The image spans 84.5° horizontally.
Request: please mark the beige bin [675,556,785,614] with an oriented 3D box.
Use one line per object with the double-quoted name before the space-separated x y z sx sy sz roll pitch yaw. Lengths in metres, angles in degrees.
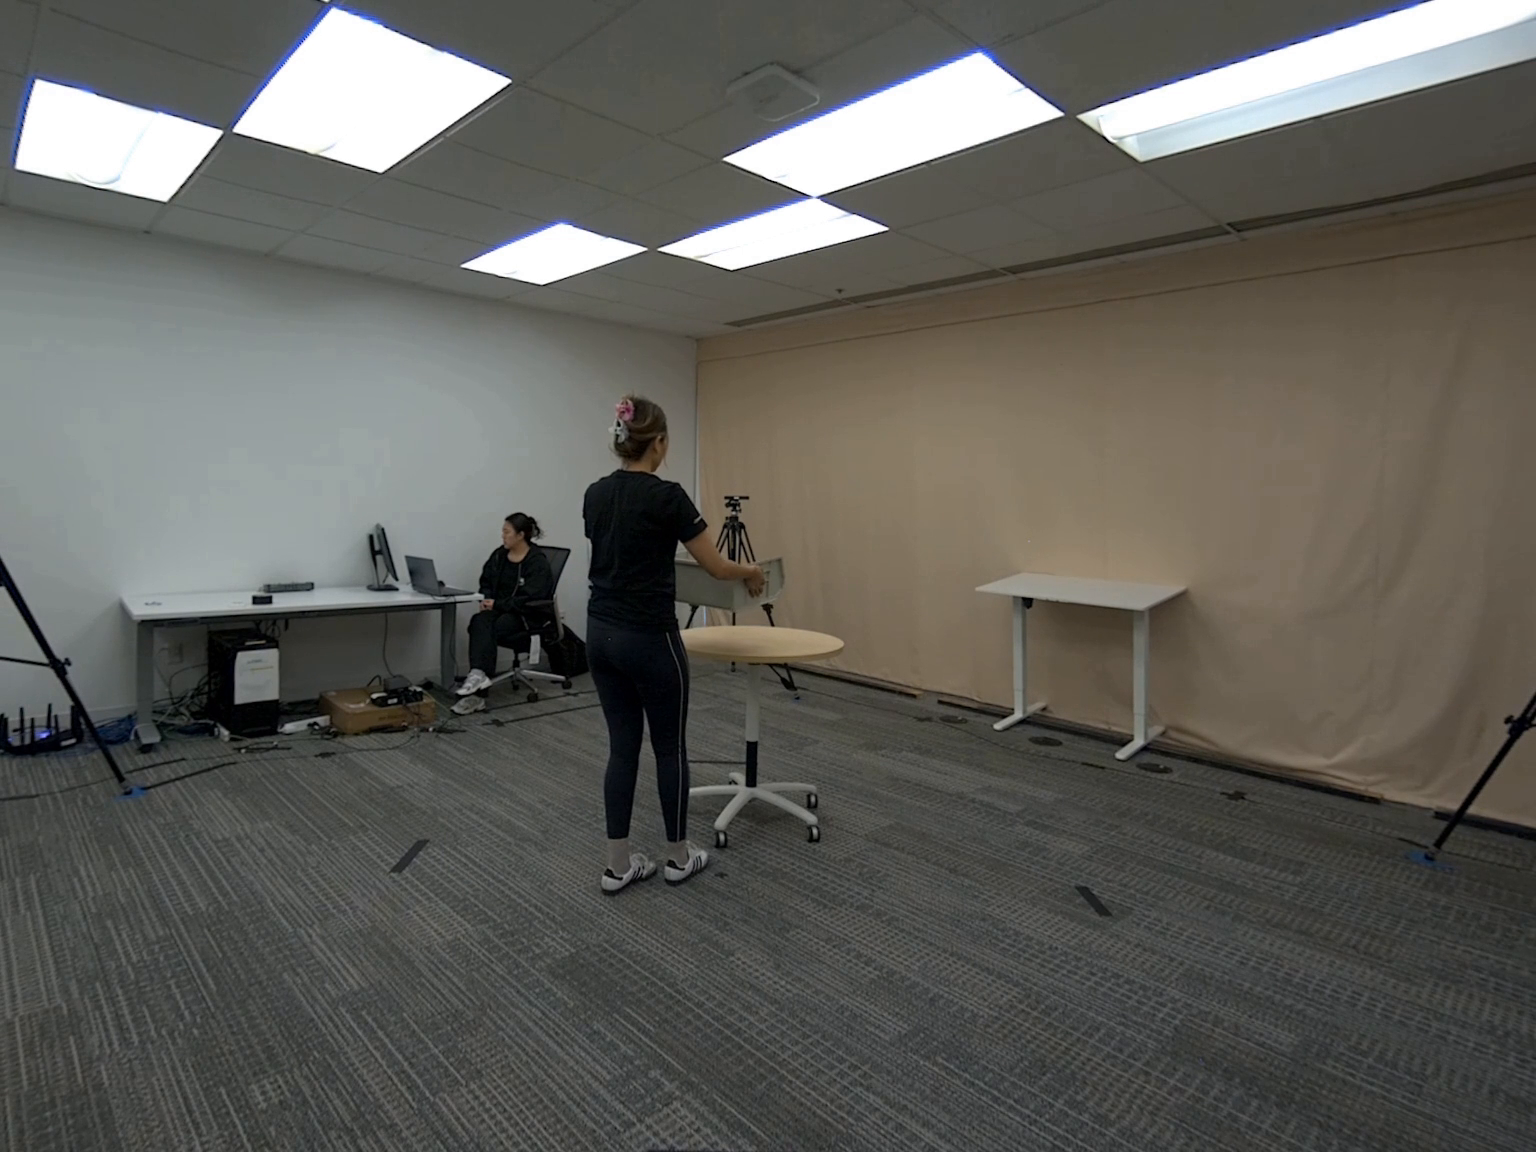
"beige bin" -0.212 0.012 3.387 0.432 0.187 0.371 9 14 31
